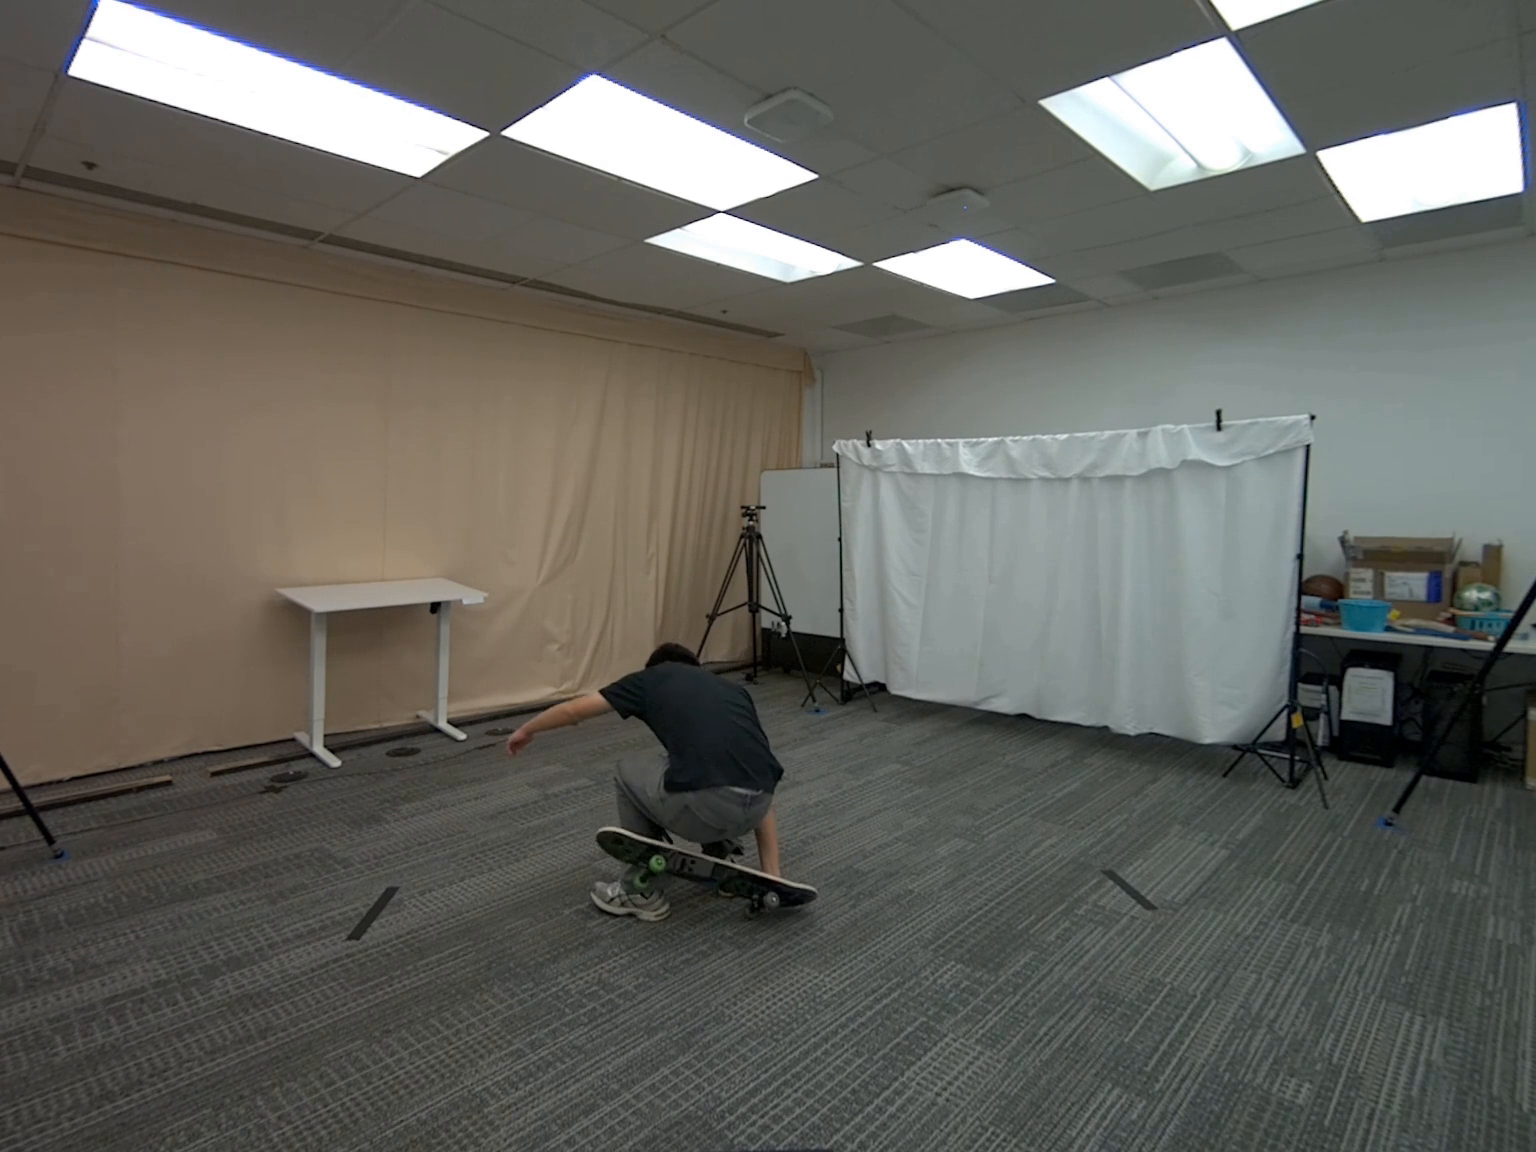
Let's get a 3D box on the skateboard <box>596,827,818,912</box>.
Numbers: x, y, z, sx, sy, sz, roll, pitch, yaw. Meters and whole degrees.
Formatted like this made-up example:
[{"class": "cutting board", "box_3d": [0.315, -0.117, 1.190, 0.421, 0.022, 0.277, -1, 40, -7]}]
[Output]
[{"class": "skateboard", "box_3d": [-0.199, 1.010, 2.758, 0.774, 0.112, 0.193, 20, -45, -12]}]
